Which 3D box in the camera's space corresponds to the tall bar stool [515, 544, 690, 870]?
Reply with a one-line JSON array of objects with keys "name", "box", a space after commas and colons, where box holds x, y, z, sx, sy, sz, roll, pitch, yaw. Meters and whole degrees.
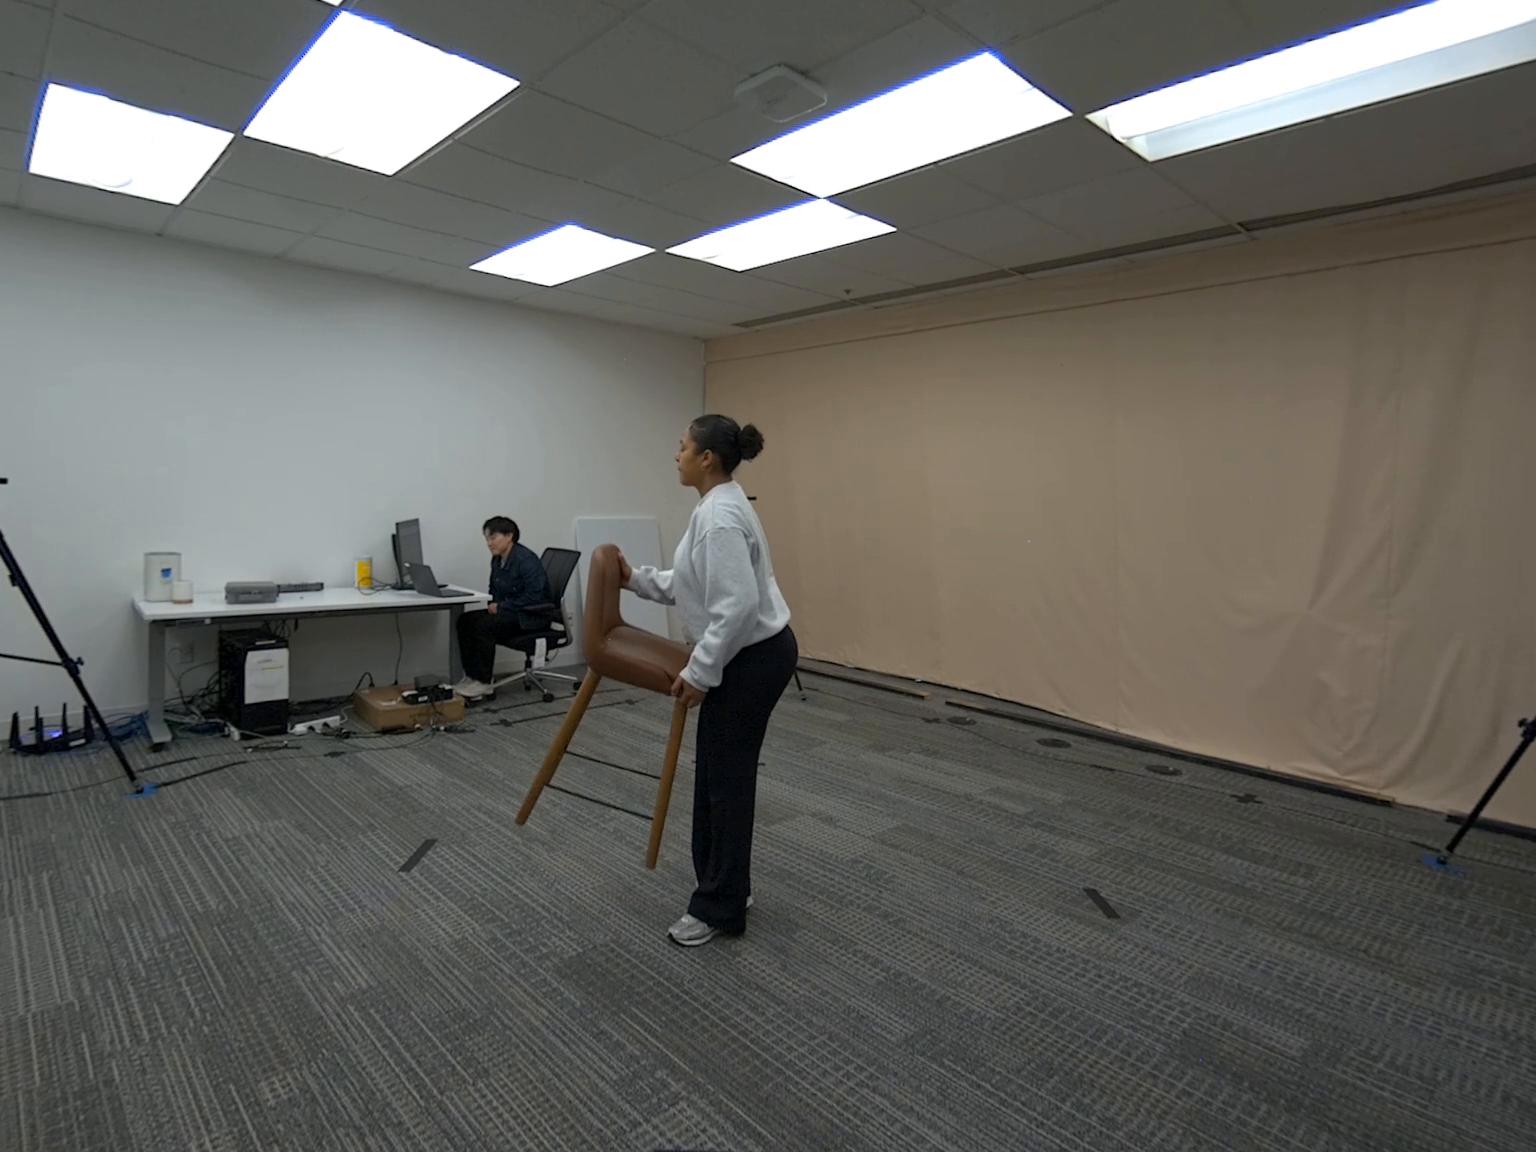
[{"name": "tall bar stool", "box": [-0.446, 0.399, 2.725, 0.466, 0.888, 0.458, 16, 4, -3]}]
